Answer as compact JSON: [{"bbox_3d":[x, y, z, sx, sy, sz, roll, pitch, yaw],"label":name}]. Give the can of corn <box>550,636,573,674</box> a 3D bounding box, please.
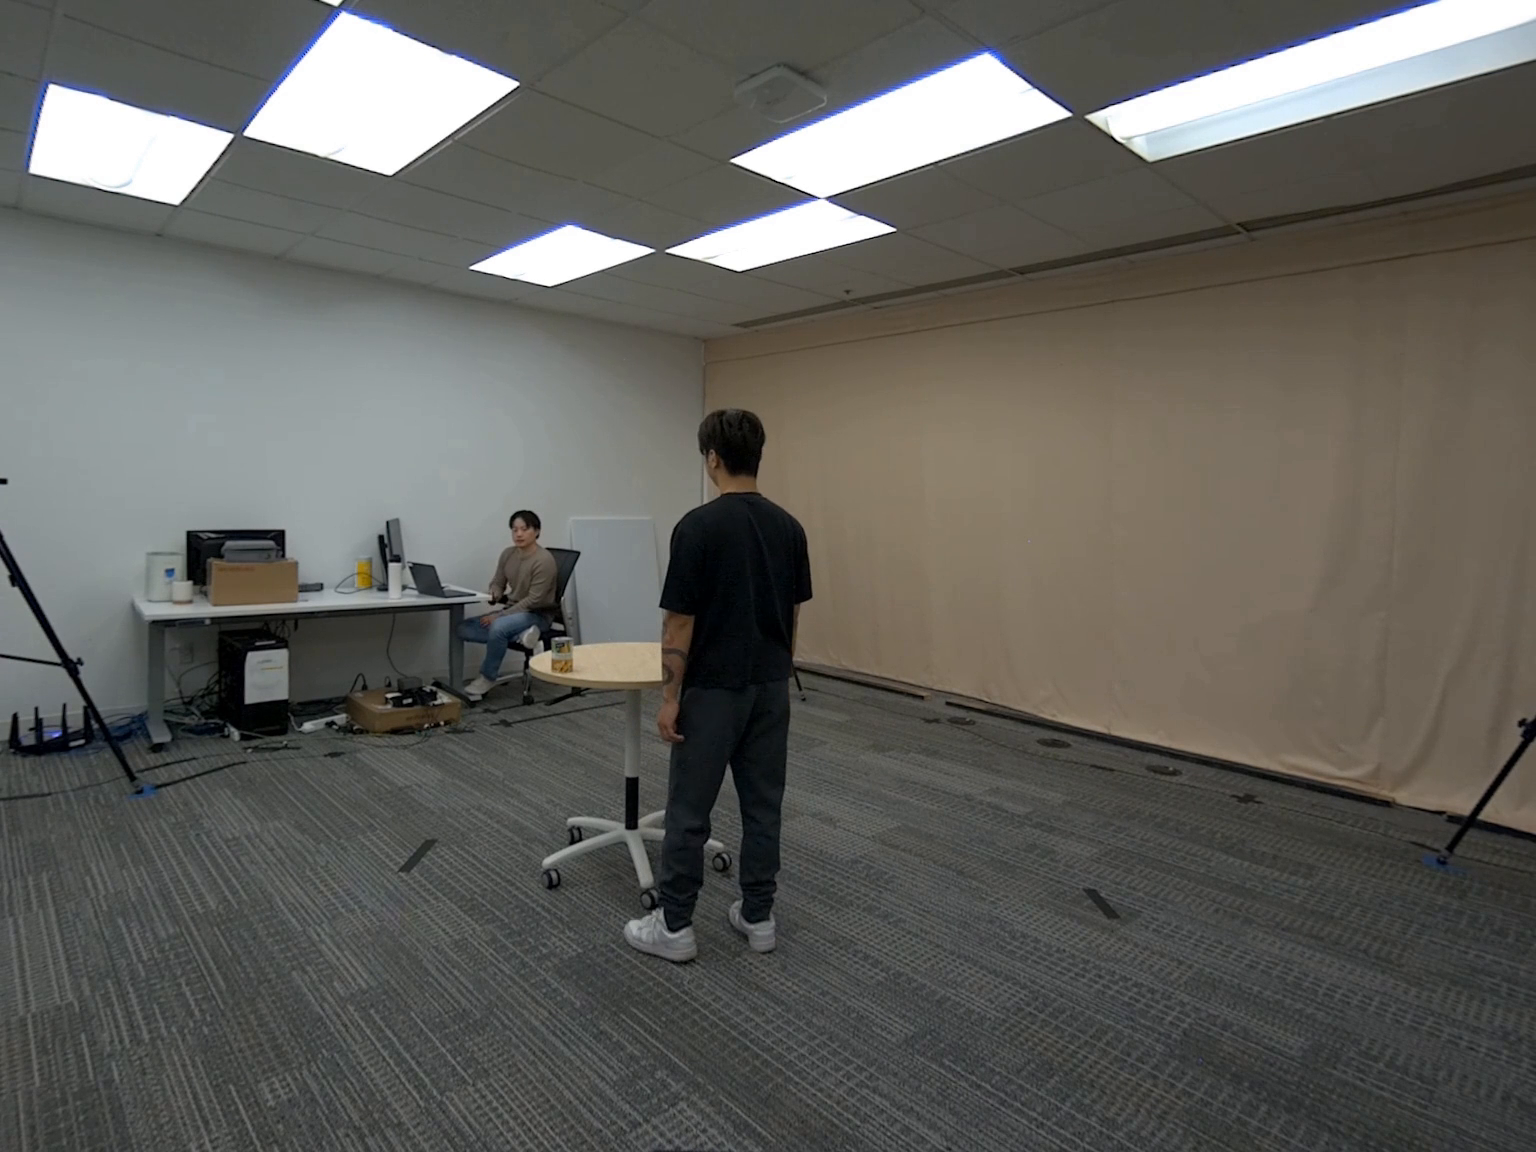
[{"bbox_3d":[-0.724,0.273,2.908,0.074,0.110,0.074,3,6,-2],"label":"can of corn"}]
